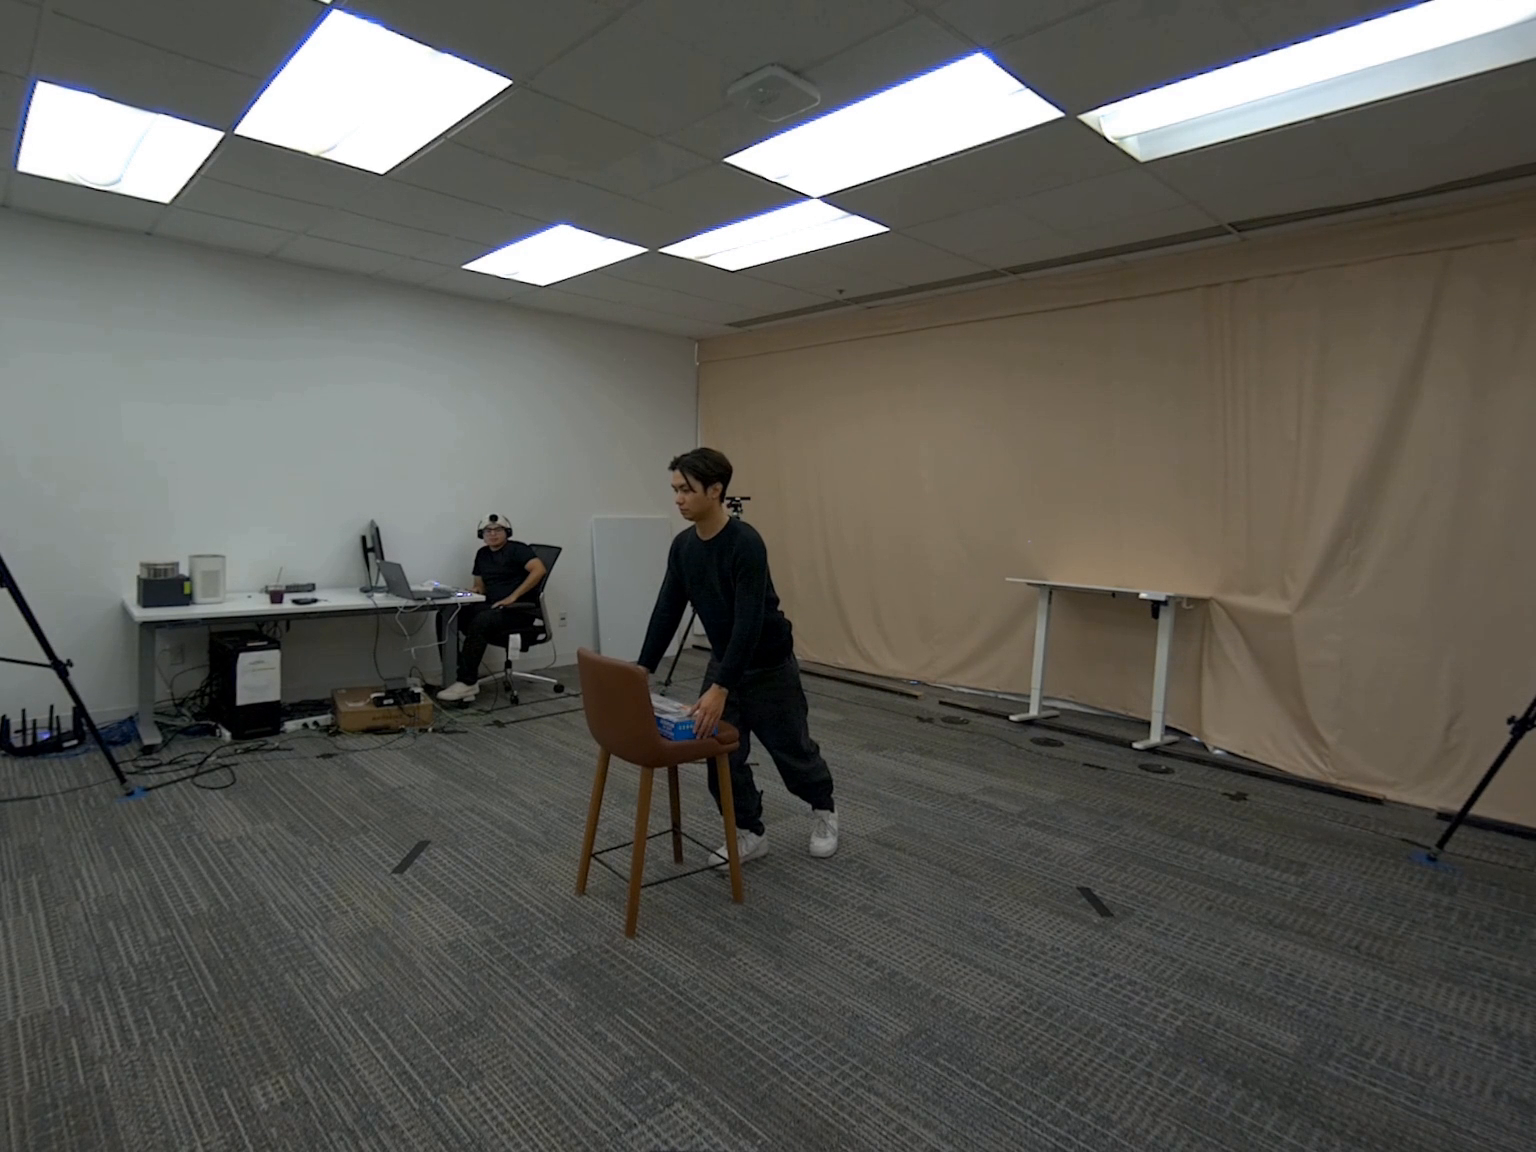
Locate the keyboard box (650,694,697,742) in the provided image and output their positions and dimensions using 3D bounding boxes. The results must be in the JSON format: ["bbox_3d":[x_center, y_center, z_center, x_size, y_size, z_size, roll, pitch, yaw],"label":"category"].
[{"bbox_3d":[-0.382,0.464,2.900,0.172,0.059,0.448,1,3,-40],"label":"keyboard box"}]
